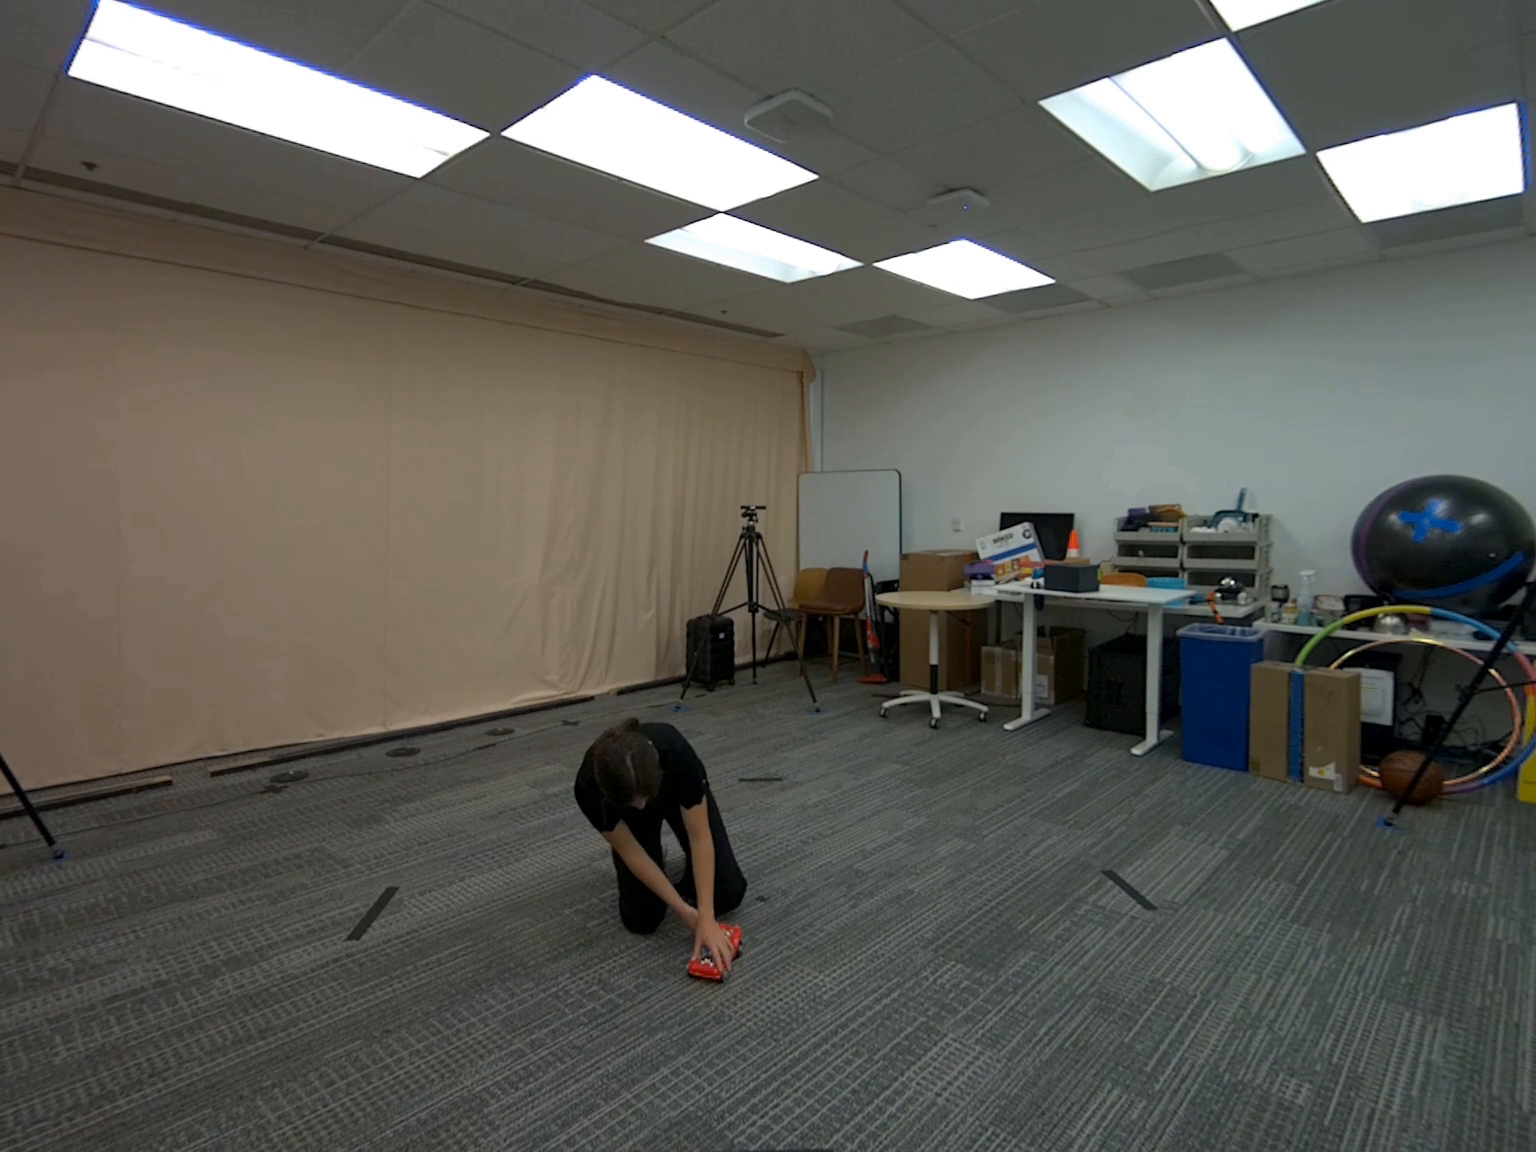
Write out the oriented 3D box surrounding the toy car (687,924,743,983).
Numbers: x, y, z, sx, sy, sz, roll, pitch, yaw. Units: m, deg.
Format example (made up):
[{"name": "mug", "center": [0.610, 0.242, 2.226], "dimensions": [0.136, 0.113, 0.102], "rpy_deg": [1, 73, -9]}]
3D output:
[{"name": "toy car", "center": [-0.150, 1.151, 2.571], "dimensions": [0.133, 0.082, 0.252], "rpy_deg": [2, 18, 18]}]
